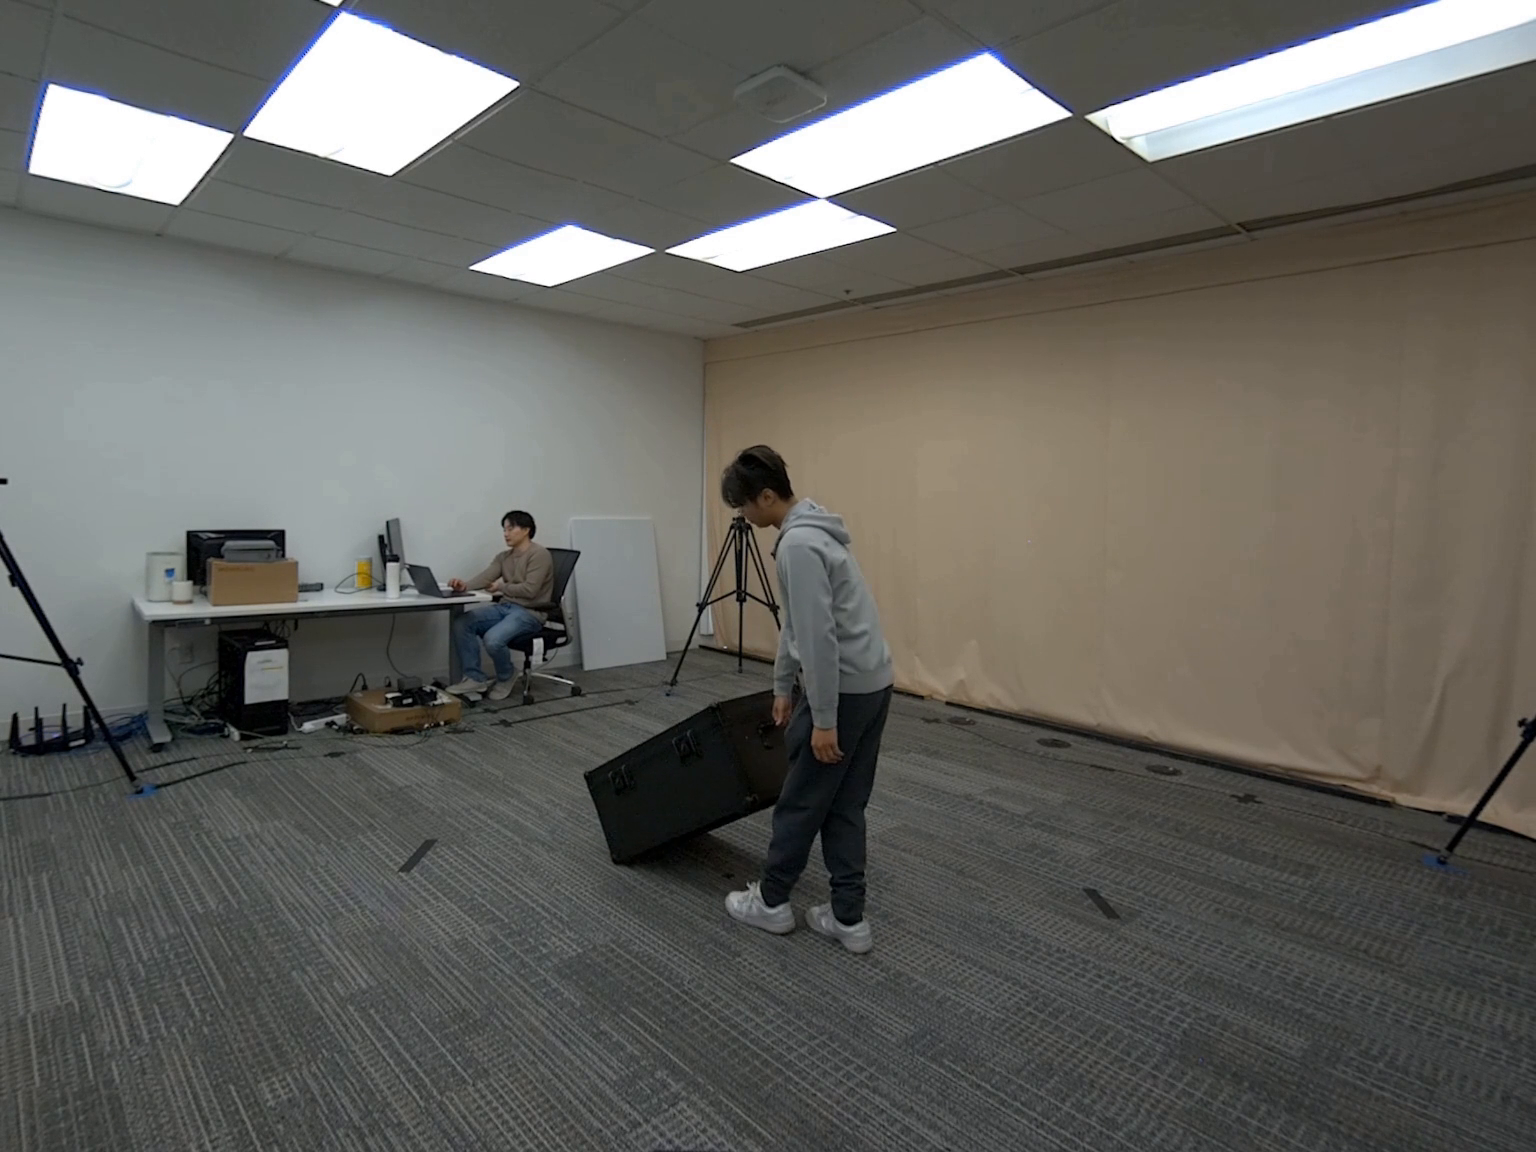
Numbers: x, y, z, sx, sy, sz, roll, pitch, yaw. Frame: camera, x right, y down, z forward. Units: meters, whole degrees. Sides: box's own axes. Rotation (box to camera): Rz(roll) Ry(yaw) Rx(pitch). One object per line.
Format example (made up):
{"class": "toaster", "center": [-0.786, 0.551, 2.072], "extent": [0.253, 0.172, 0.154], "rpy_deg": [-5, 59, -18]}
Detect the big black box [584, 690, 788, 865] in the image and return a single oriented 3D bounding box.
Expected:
{"class": "big black box", "center": [-0.233, 0.745, 3.174], "extent": [0.867, 0.402, 0.509], "rpy_deg": [-34, -19, 36]}
